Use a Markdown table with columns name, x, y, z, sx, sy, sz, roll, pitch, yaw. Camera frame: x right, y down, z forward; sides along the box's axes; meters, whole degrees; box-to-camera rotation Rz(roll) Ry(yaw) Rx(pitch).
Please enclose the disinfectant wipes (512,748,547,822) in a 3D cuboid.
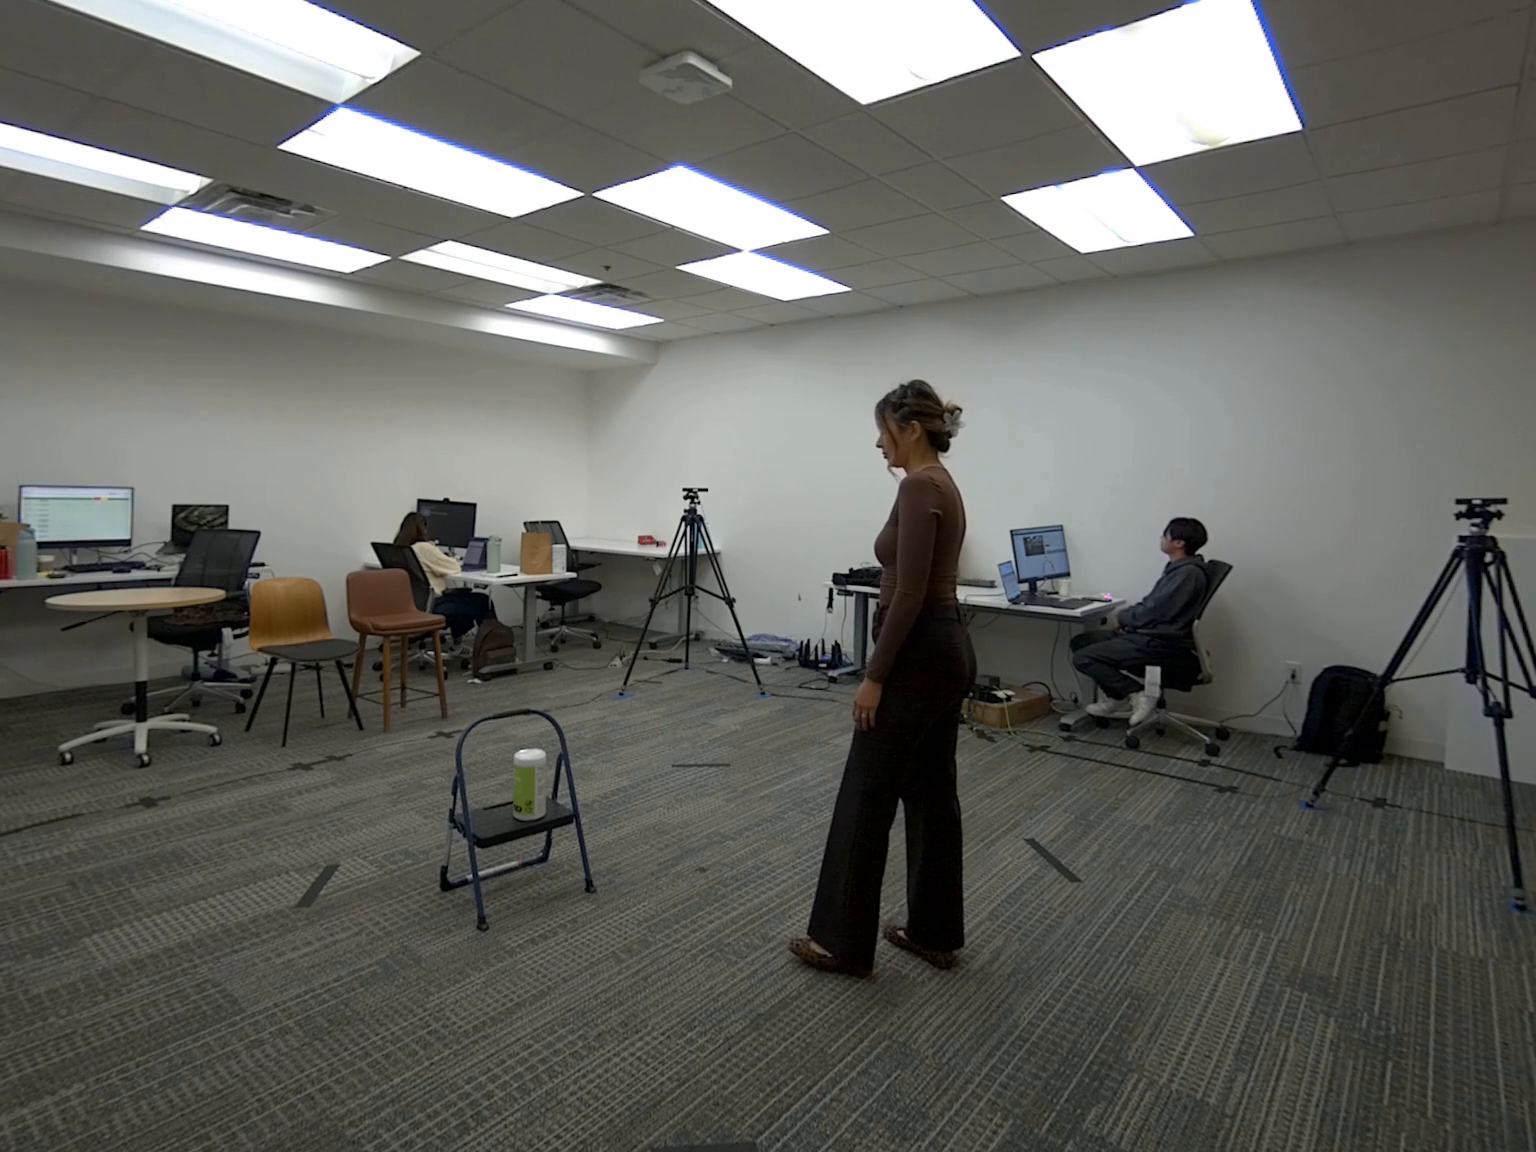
| name | x | y | z | sx | sy | sz | roll | pitch | yaw |
| --- | --- | --- | --- | --- | --- | --- | --- | --- | --- |
| disinfectant wipes | -0.832 | 0.713 | 2.911 | 0.118 | 0.216 | 0.118 | 0 | 6 | -2 |
